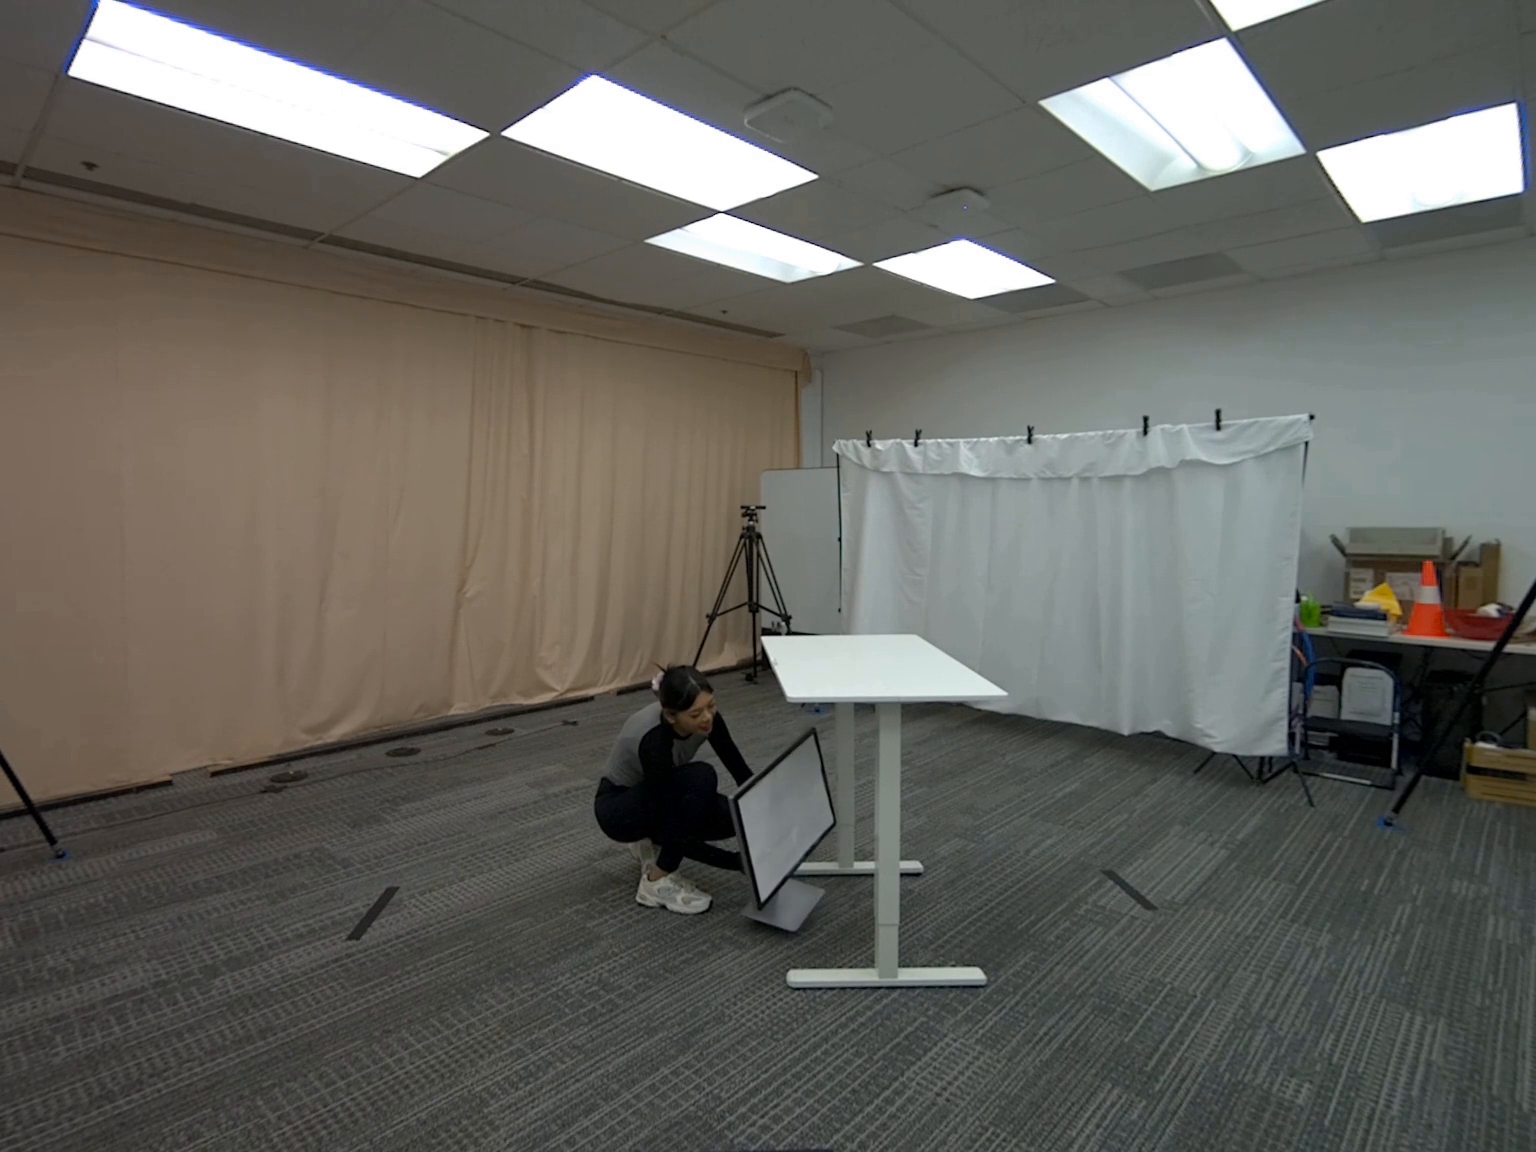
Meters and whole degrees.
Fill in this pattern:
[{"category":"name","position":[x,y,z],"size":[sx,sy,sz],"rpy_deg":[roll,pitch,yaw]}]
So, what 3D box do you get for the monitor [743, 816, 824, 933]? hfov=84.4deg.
[{"category":"monitor","position":[0.040,0.852,2.763],"size":[0.193,0.518,0.528],"rpy_deg":[4,15,30]}]
